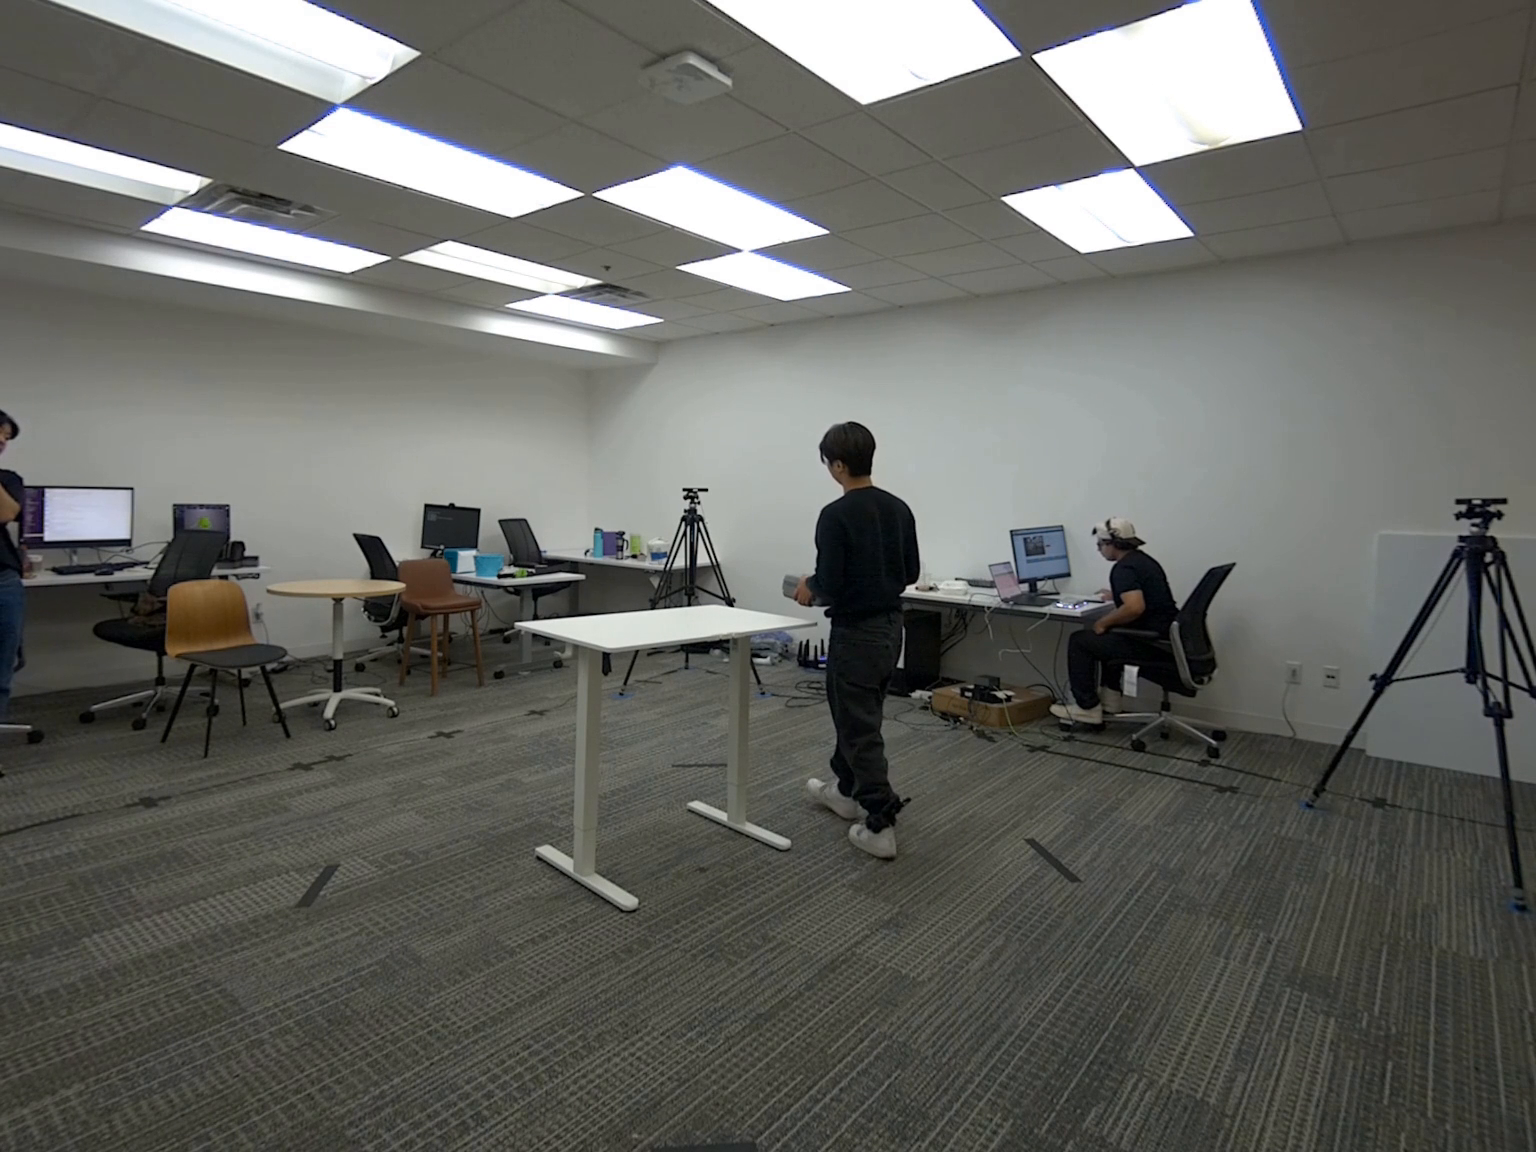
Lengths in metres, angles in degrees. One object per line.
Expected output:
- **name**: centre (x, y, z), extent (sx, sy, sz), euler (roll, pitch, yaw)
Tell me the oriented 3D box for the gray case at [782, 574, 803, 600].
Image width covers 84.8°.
- **gray case**: centre (0.222, 0.054, 3.629), extent (0.250, 0.104, 0.269), euler (2, 8, -28)
